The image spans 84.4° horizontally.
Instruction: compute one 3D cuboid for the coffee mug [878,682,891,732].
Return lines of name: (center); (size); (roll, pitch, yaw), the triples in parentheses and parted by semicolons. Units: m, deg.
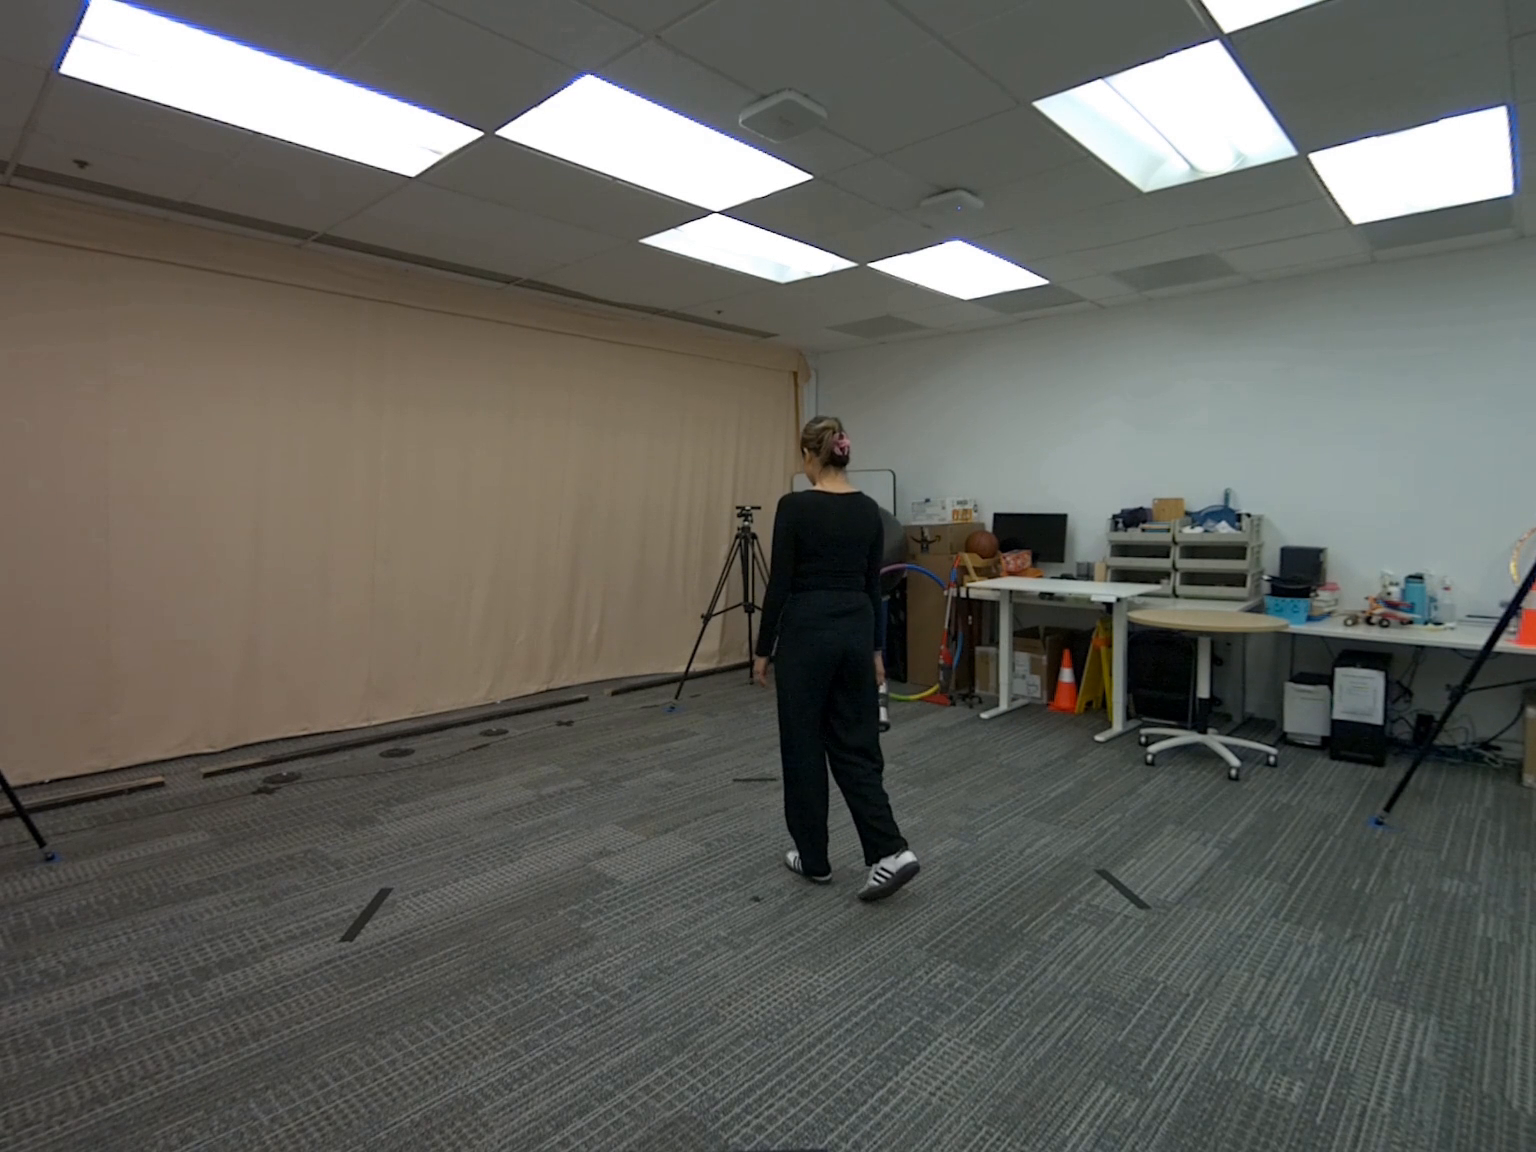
coffee mug: (0.451, 0.495, 3.263); (0.086, 0.206, 0.123); (26, -46, -21)
